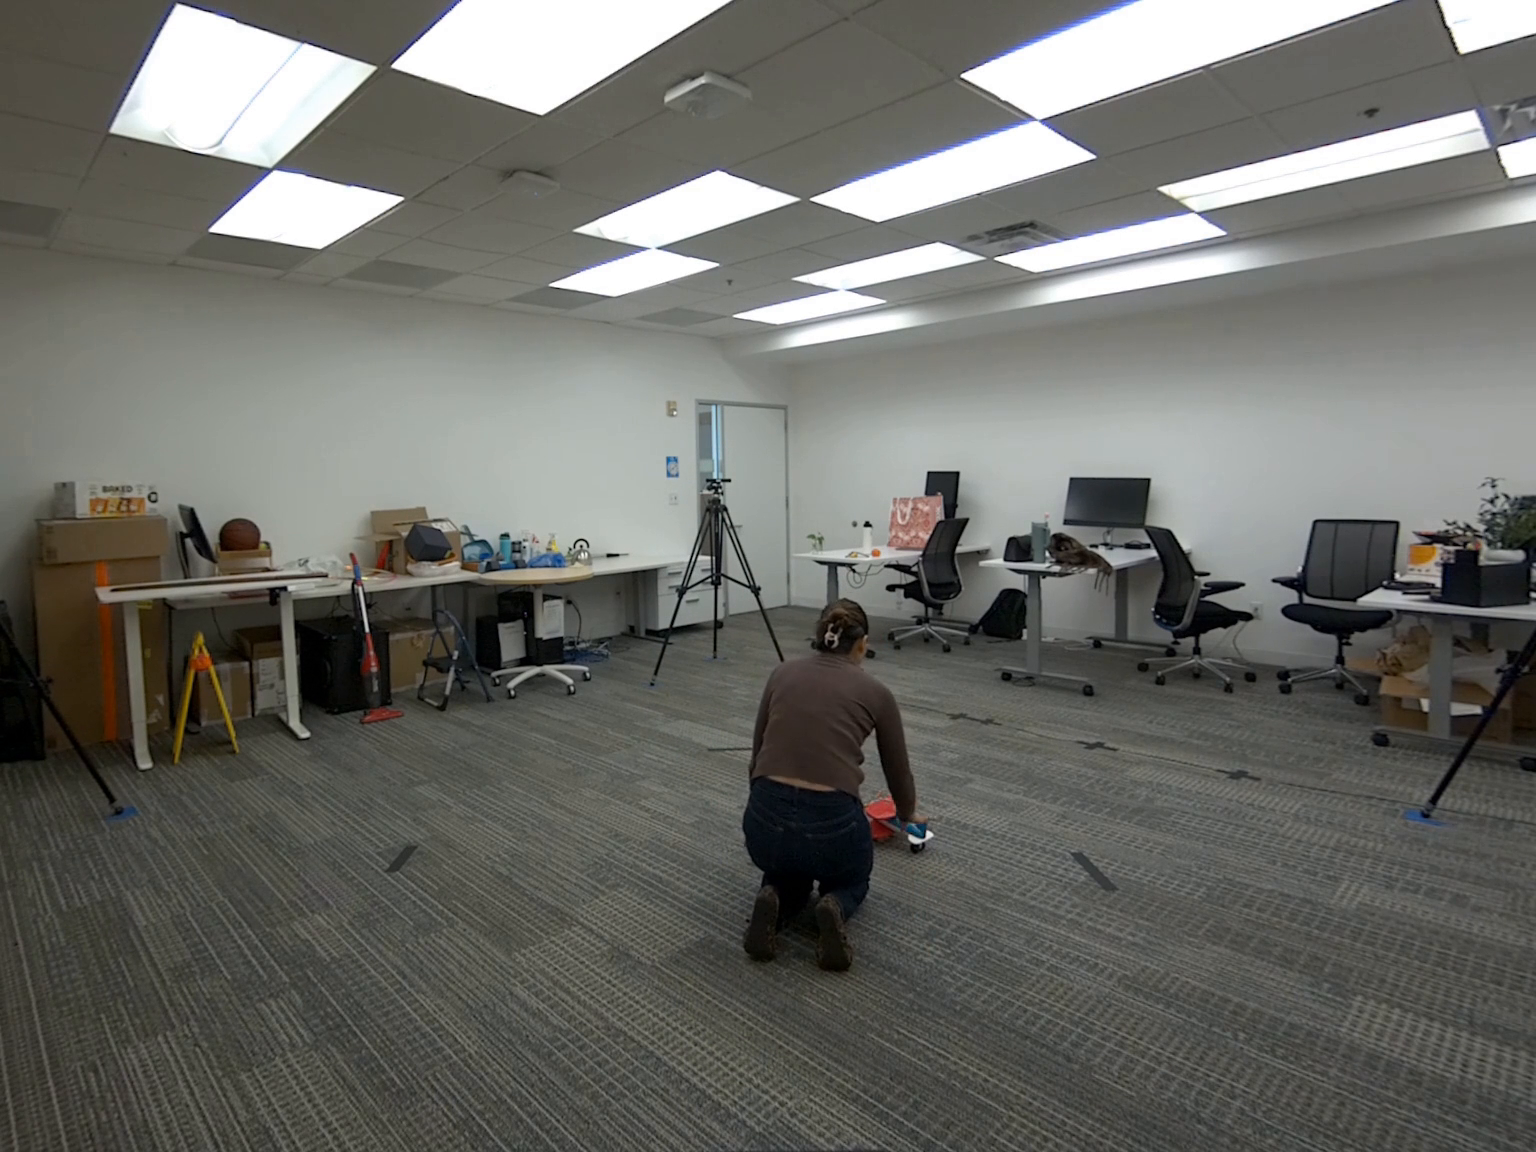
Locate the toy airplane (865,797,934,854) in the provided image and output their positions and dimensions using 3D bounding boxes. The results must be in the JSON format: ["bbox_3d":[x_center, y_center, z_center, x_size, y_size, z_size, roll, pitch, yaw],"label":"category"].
[{"bbox_3d":[0.507,0.944,3.258,0.264,0.156,0.247,-1,3,20],"label":"toy airplane"}]
